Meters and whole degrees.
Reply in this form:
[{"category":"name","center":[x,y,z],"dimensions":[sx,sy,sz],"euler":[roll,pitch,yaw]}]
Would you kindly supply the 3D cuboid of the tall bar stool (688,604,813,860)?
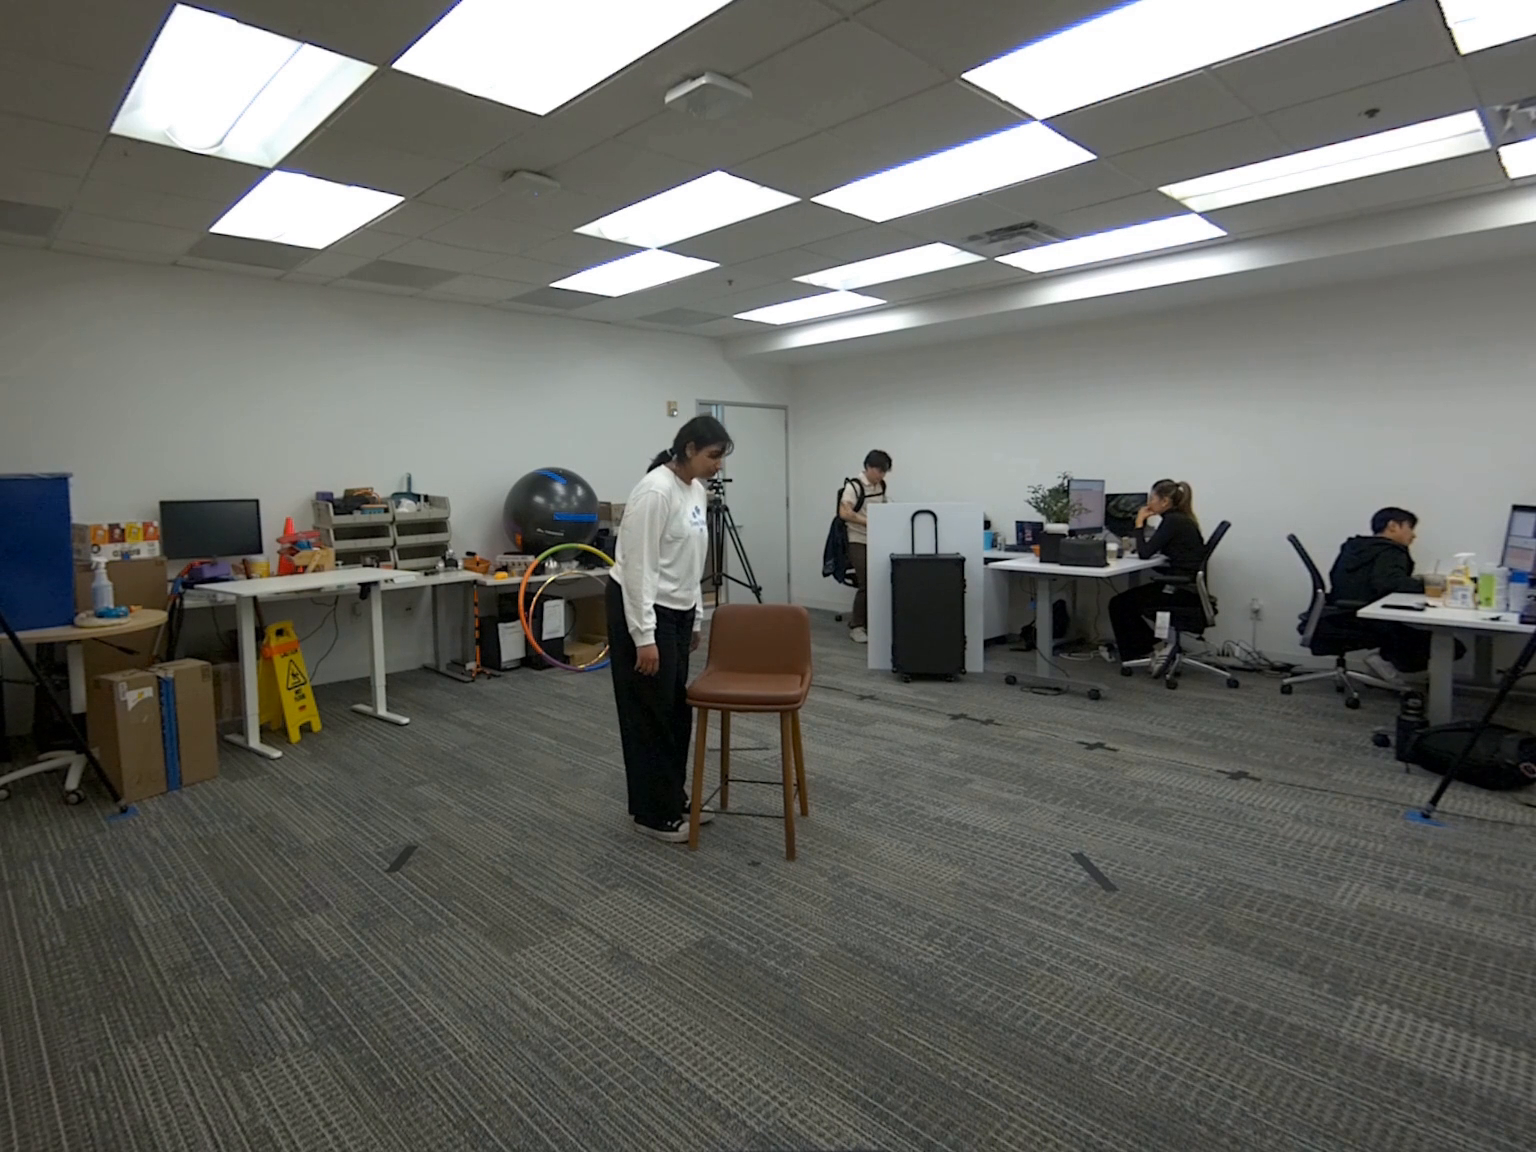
[{"category":"tall bar stool","center":[-0.064,0.583,3.366],"dimensions":[0.463,0.888,0.462],"euler":[0,3,15]}]
